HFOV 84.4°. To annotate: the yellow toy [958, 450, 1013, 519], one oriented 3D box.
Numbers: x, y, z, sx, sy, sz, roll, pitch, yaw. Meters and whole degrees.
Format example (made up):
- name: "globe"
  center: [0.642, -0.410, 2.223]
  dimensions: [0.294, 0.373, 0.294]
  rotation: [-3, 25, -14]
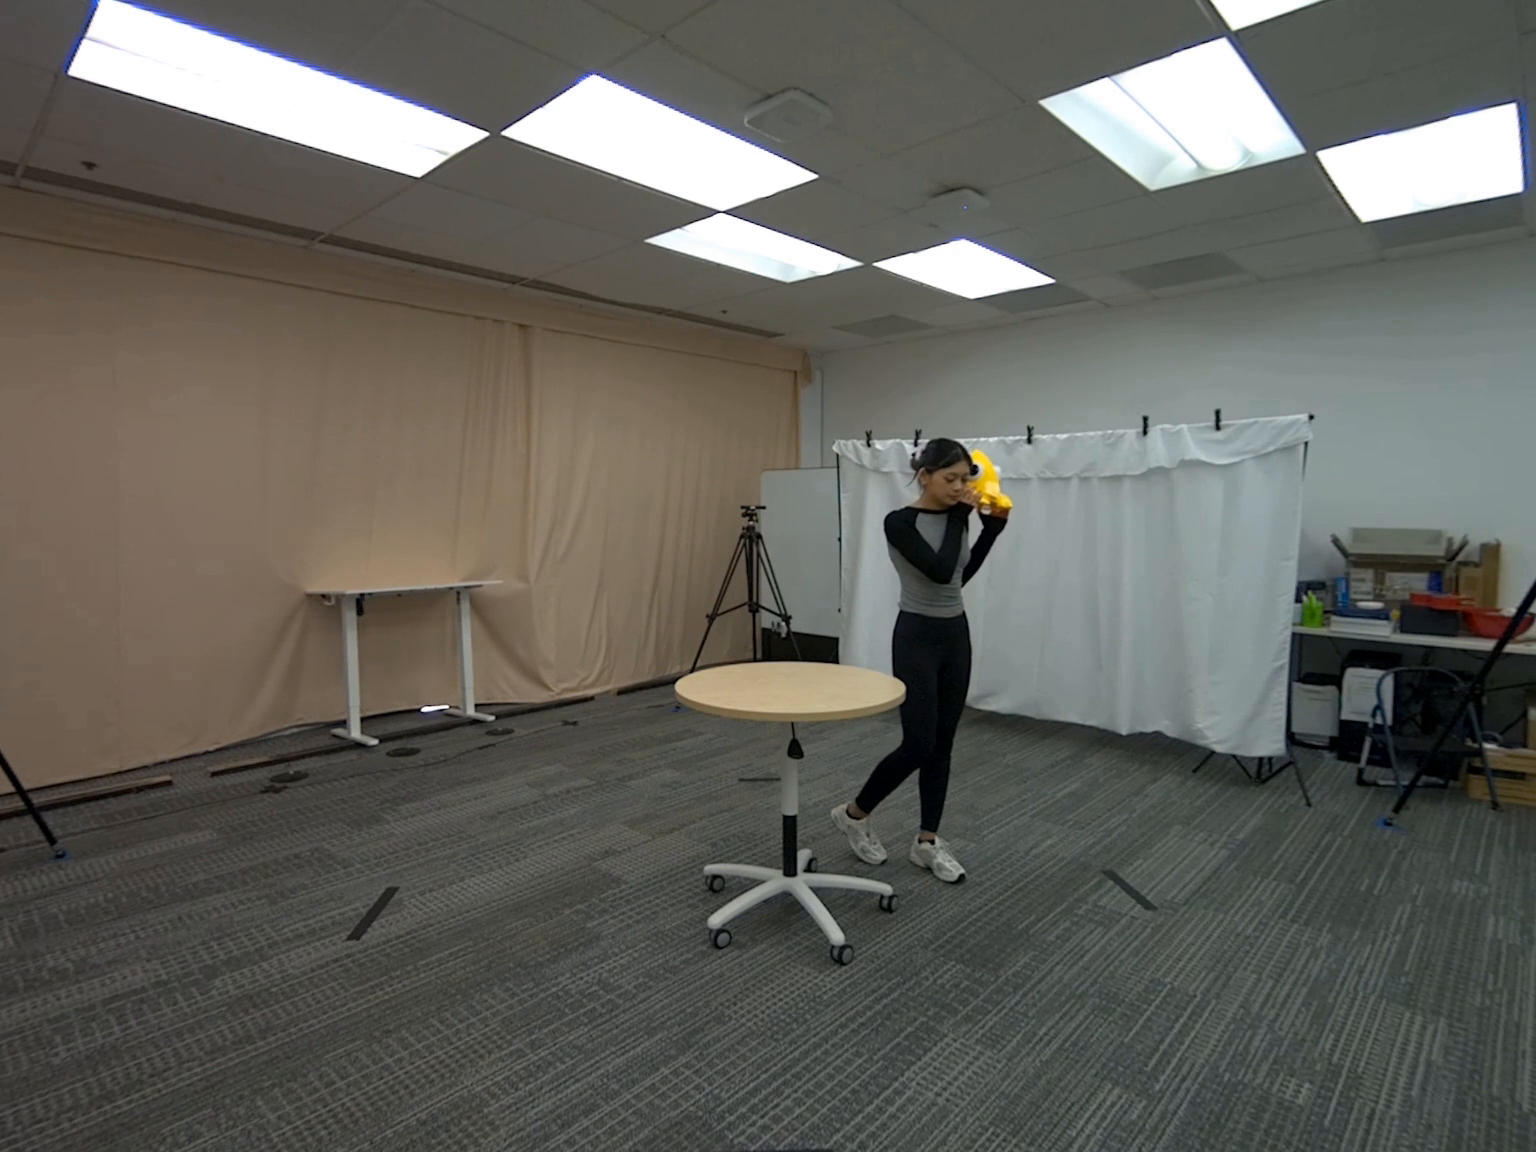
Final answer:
- name: "yellow toy"
  center: [0.836, -0.379, 3.215]
  dimensions: [0.199, 0.231, 0.198]
  rotation: [8, -4, -26]
